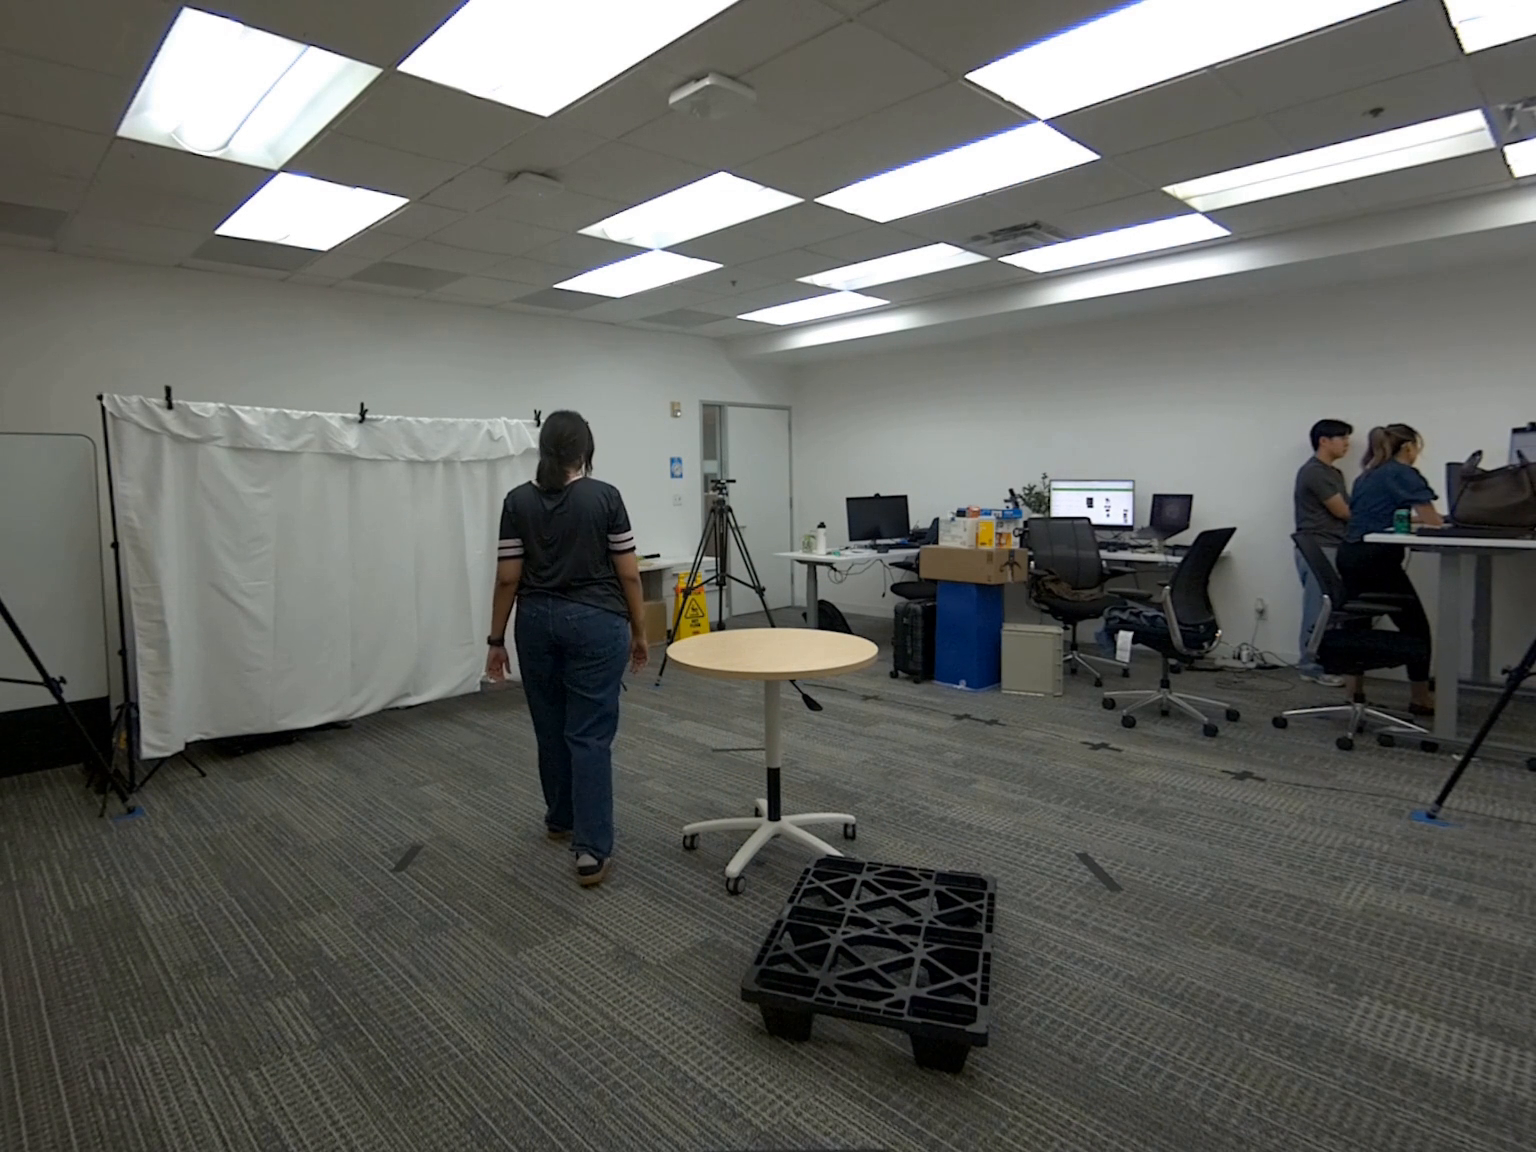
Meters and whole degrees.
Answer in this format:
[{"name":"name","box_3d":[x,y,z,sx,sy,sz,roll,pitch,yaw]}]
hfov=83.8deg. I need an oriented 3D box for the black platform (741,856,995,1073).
[{"name":"black platform","box_3d":[0.322,1.052,2.413,0.616,0.142,0.795,0,7,18]}]
